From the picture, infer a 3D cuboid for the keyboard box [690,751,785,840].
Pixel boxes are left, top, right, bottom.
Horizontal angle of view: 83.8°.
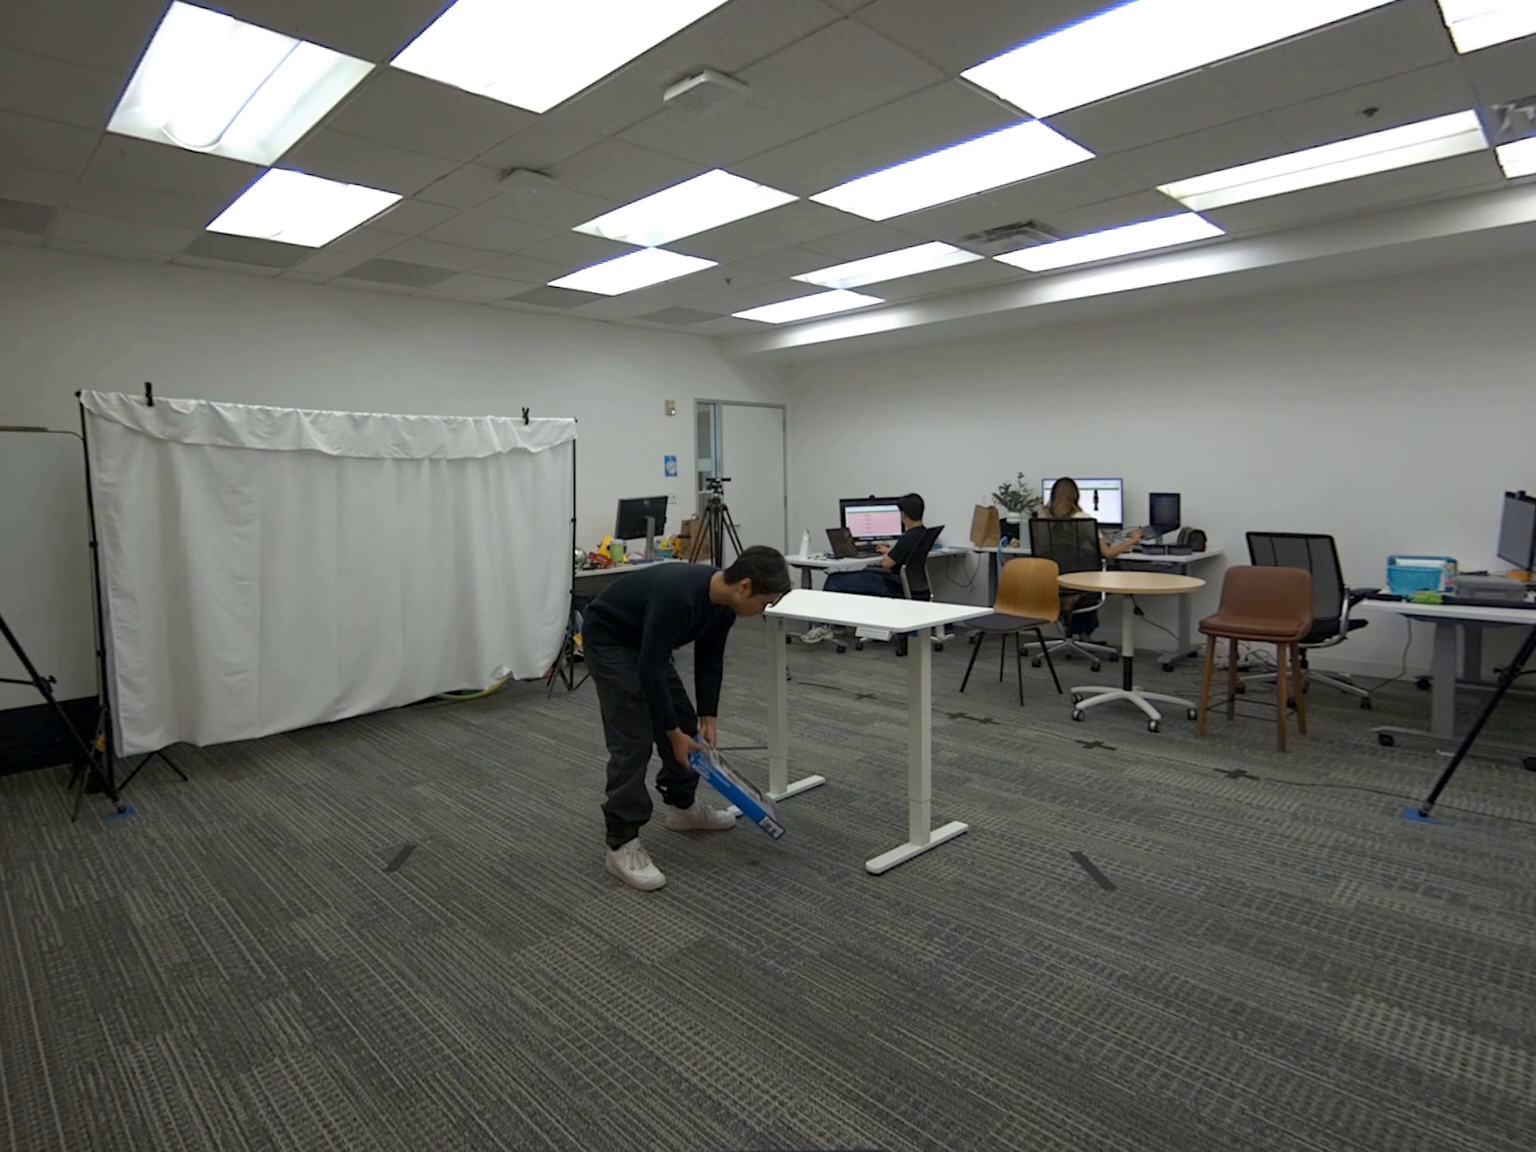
[{"bbox_3d":[-0.119,0.761,3.106,0.059,0.431,0.178,-43,10,3],"label":"keyboard box"}]
